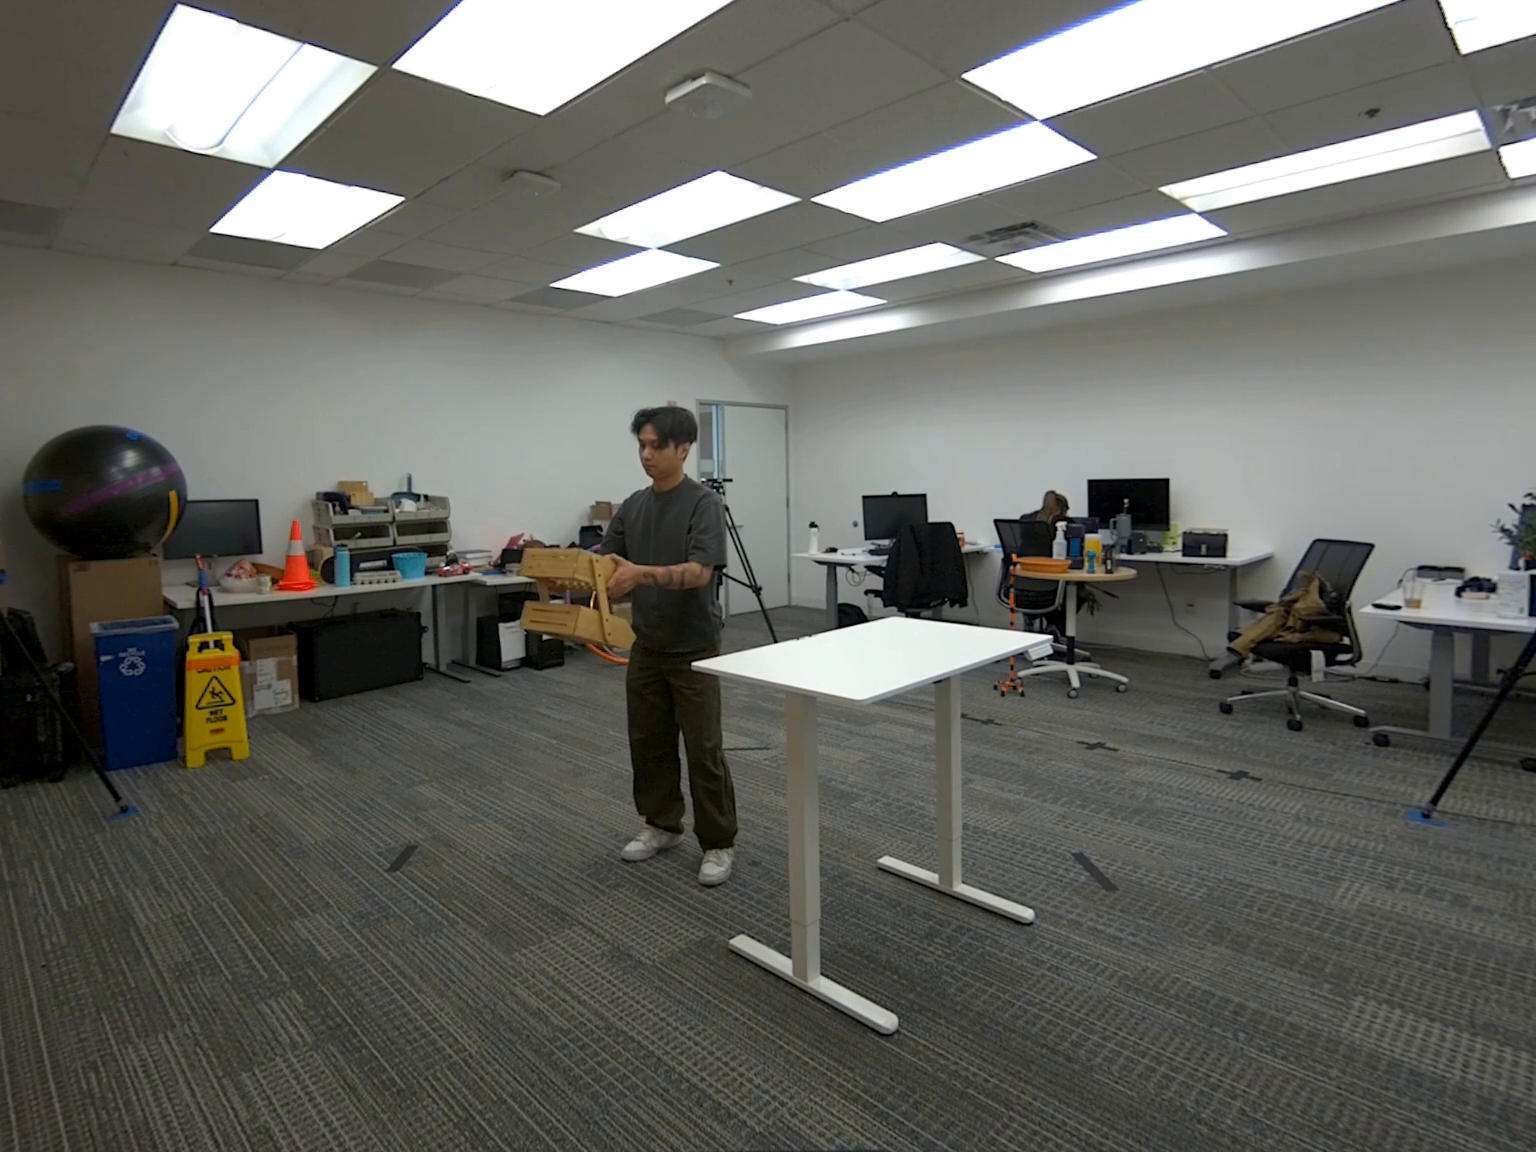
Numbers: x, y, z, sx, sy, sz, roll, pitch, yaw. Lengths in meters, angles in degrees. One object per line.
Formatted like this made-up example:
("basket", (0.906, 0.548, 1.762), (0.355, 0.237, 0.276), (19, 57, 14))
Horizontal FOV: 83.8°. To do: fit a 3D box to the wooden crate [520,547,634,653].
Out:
("wooden crate", (-0.622, 0.072, 2.813), (0.334, 0.275, 0.291), (1, -14, 42))
